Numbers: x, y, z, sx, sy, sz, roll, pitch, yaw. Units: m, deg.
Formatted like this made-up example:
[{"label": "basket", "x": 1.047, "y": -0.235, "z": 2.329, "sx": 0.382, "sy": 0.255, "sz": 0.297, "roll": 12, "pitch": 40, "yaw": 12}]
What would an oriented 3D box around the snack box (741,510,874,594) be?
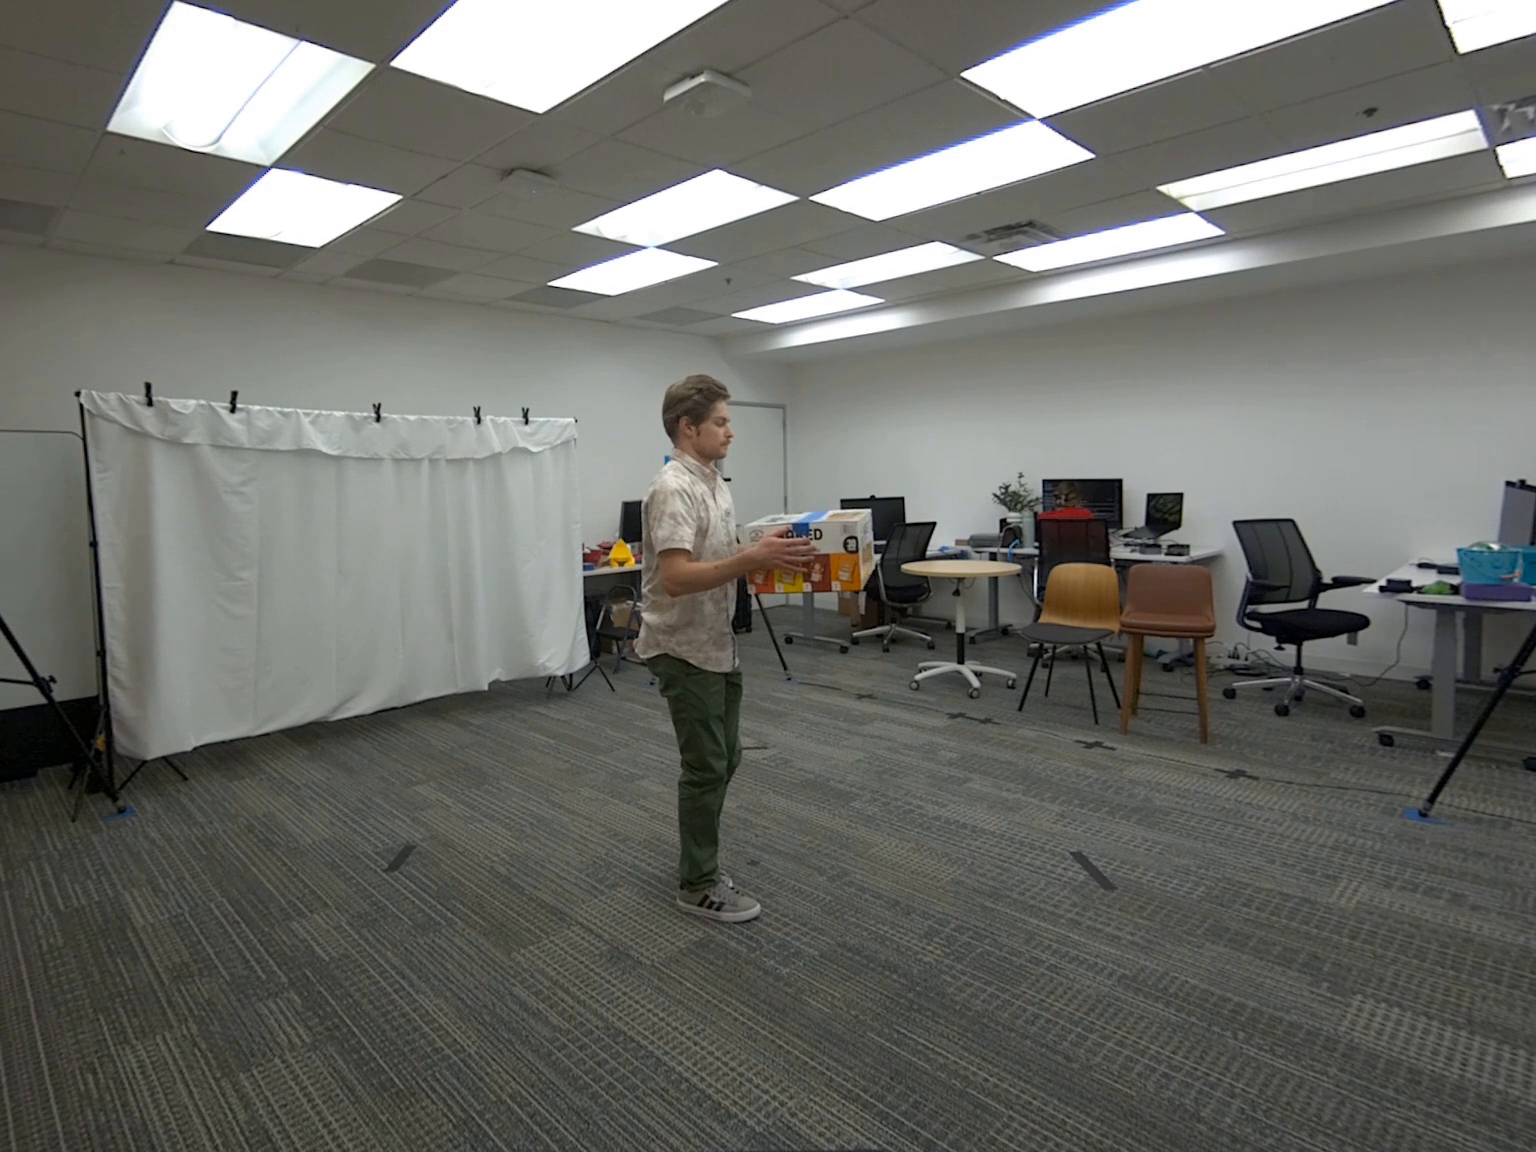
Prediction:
[{"label": "snack box", "x": 0.136, "y": -0.081, "z": 2.663, "sx": 0.345, "sy": 0.204, "sz": 0.402, "roll": -2, "pitch": 8, "yaw": 14}]
